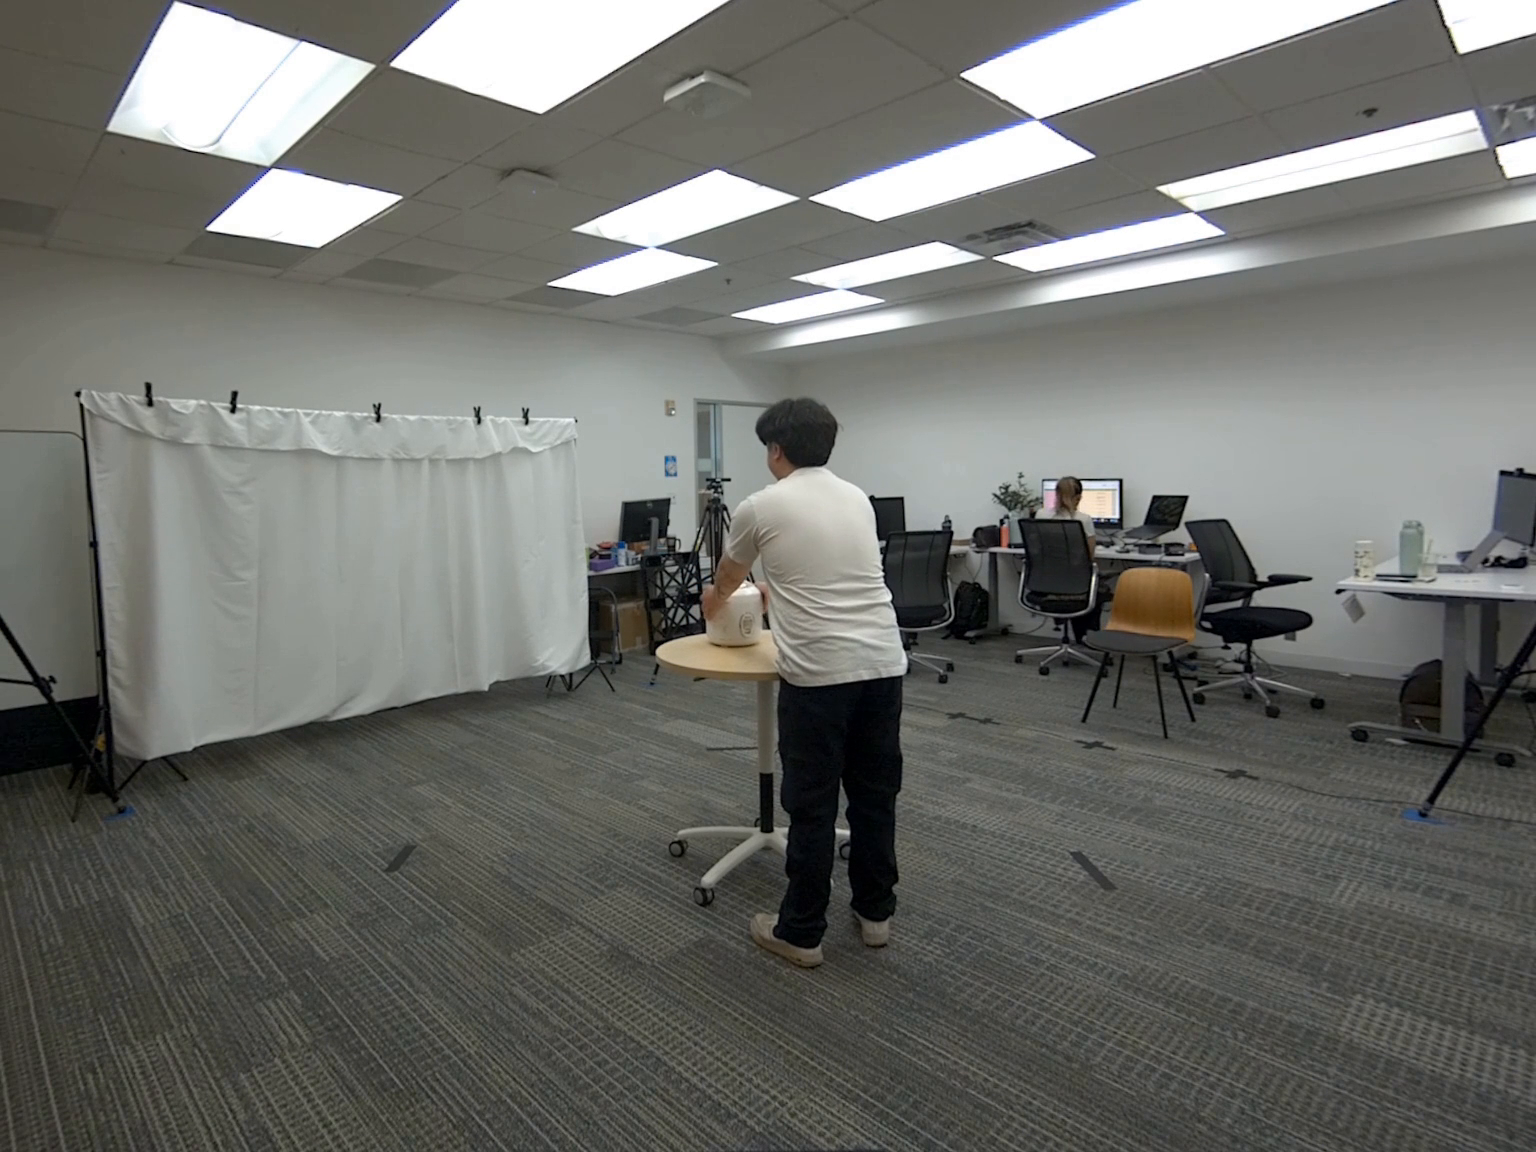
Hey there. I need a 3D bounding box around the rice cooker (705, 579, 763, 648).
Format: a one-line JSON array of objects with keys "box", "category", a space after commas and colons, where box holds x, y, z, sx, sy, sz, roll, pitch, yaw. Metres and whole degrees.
[{"box": [-0.120, 0.130, 3.119, 0.216, 0.232, 0.223, -6, 6, -26], "category": "rice cooker"}]
